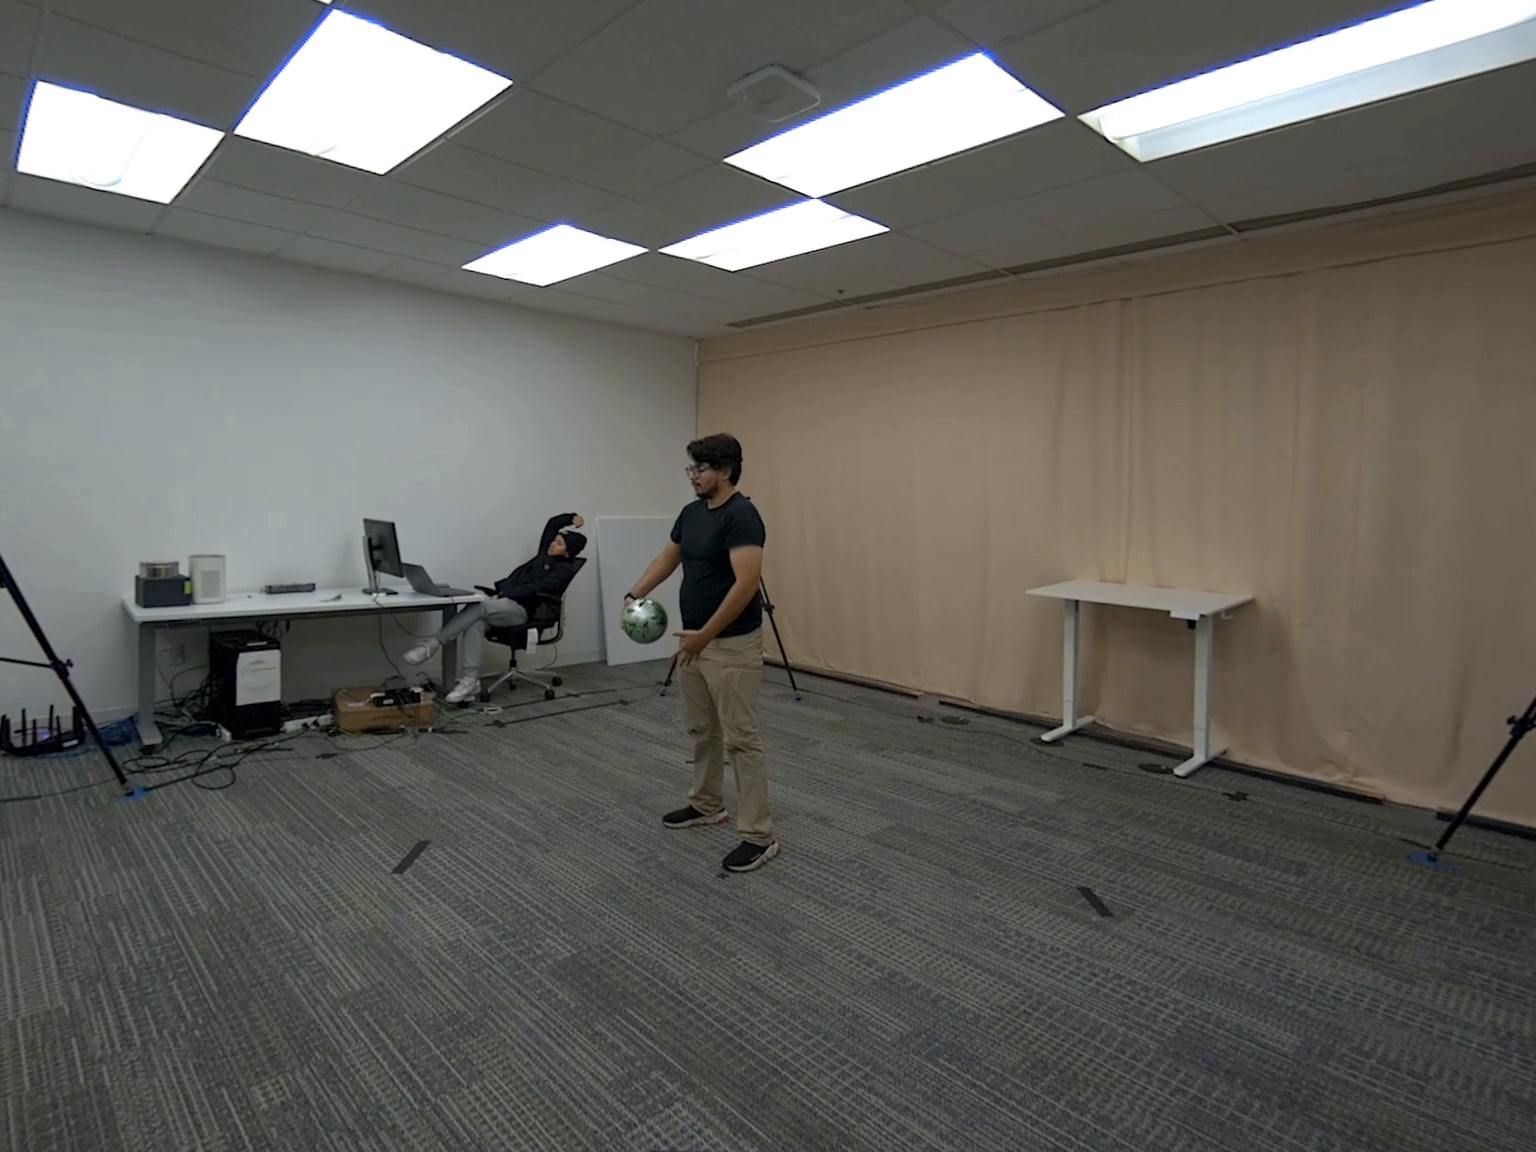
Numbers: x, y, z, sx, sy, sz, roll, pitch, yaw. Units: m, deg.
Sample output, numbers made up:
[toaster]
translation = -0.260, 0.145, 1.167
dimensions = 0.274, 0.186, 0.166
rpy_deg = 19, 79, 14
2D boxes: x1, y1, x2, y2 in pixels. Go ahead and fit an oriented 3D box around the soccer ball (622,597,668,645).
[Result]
[soccer ball]
translation = -0.505, 0.180, 3.466
dimensions = 0.187, 0.187, 0.188
rpy_deg = 1, 4, -1
